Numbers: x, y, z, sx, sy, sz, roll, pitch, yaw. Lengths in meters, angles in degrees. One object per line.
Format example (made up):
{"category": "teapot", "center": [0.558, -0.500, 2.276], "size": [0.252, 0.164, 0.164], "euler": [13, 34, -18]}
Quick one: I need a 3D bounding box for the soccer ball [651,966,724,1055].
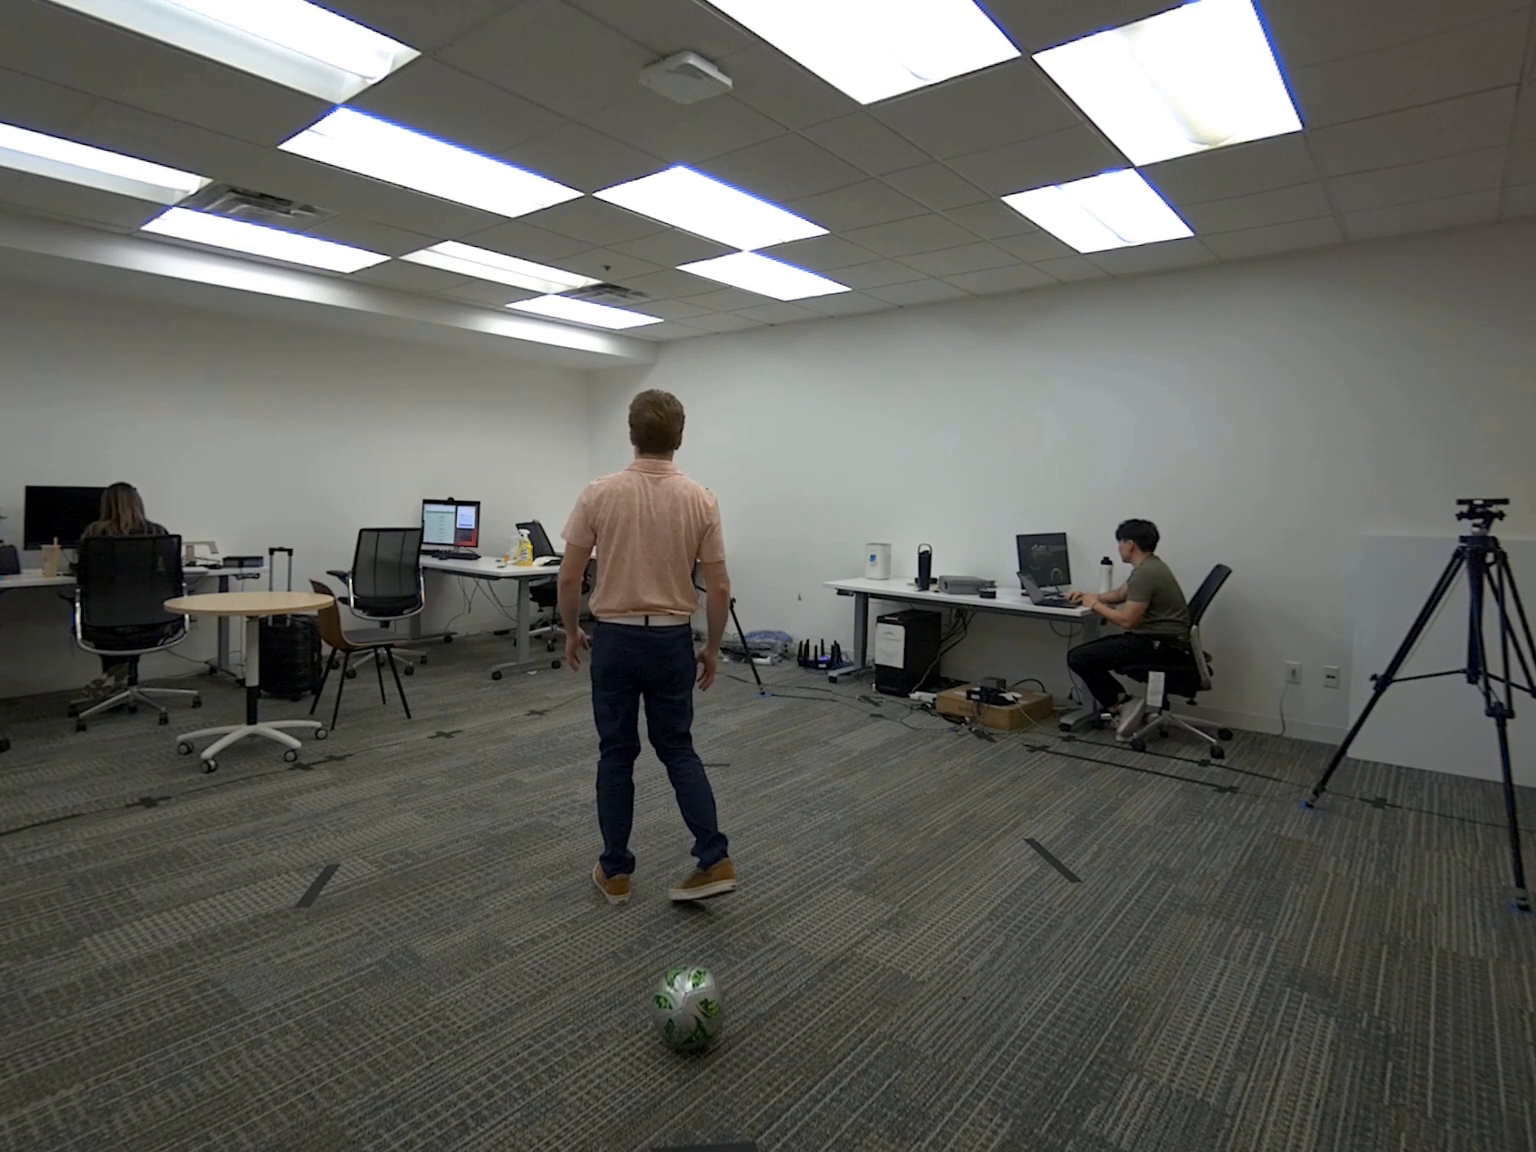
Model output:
{"category": "soccer ball", "center": [-0.205, 1.080, 2.135], "size": [0.187, 0.187, 0.188], "euler": [1, 4, -2]}
